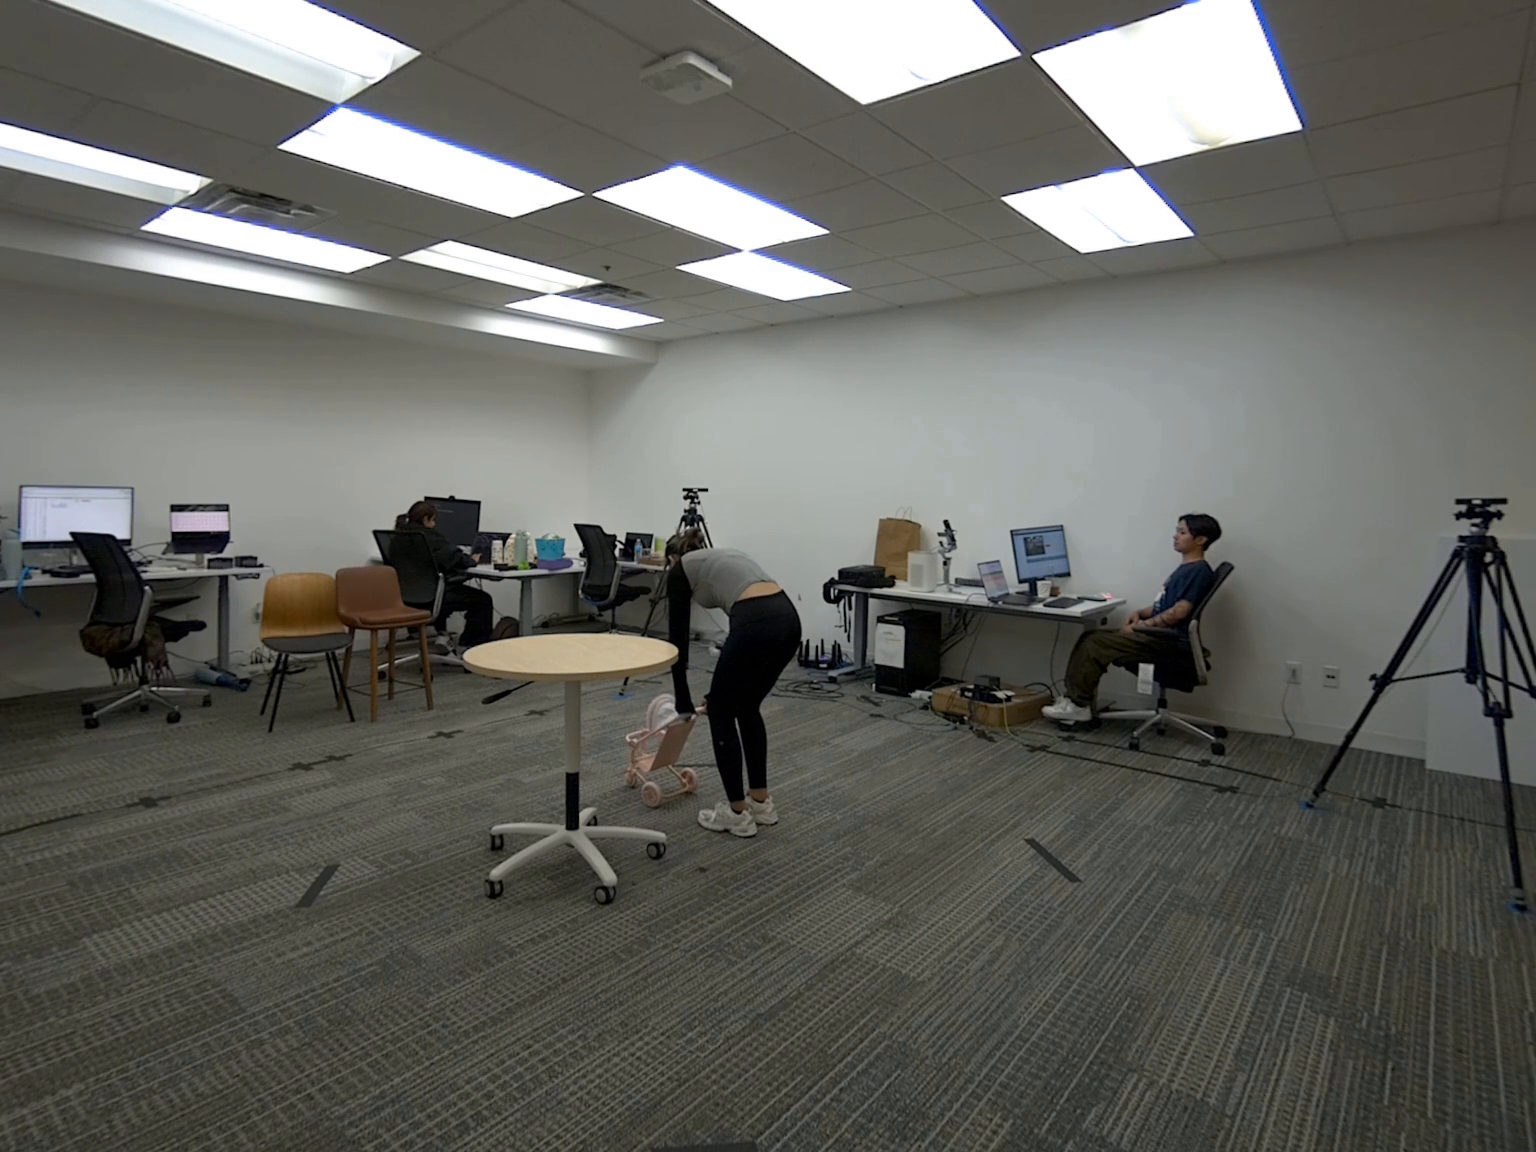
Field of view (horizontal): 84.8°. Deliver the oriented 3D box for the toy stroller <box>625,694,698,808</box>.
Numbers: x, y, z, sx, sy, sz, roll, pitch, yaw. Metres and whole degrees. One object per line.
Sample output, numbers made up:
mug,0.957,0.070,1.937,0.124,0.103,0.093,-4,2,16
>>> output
toy stroller,-0.497,0.766,3.844,0.355,0.530,0.273,22,16,39
